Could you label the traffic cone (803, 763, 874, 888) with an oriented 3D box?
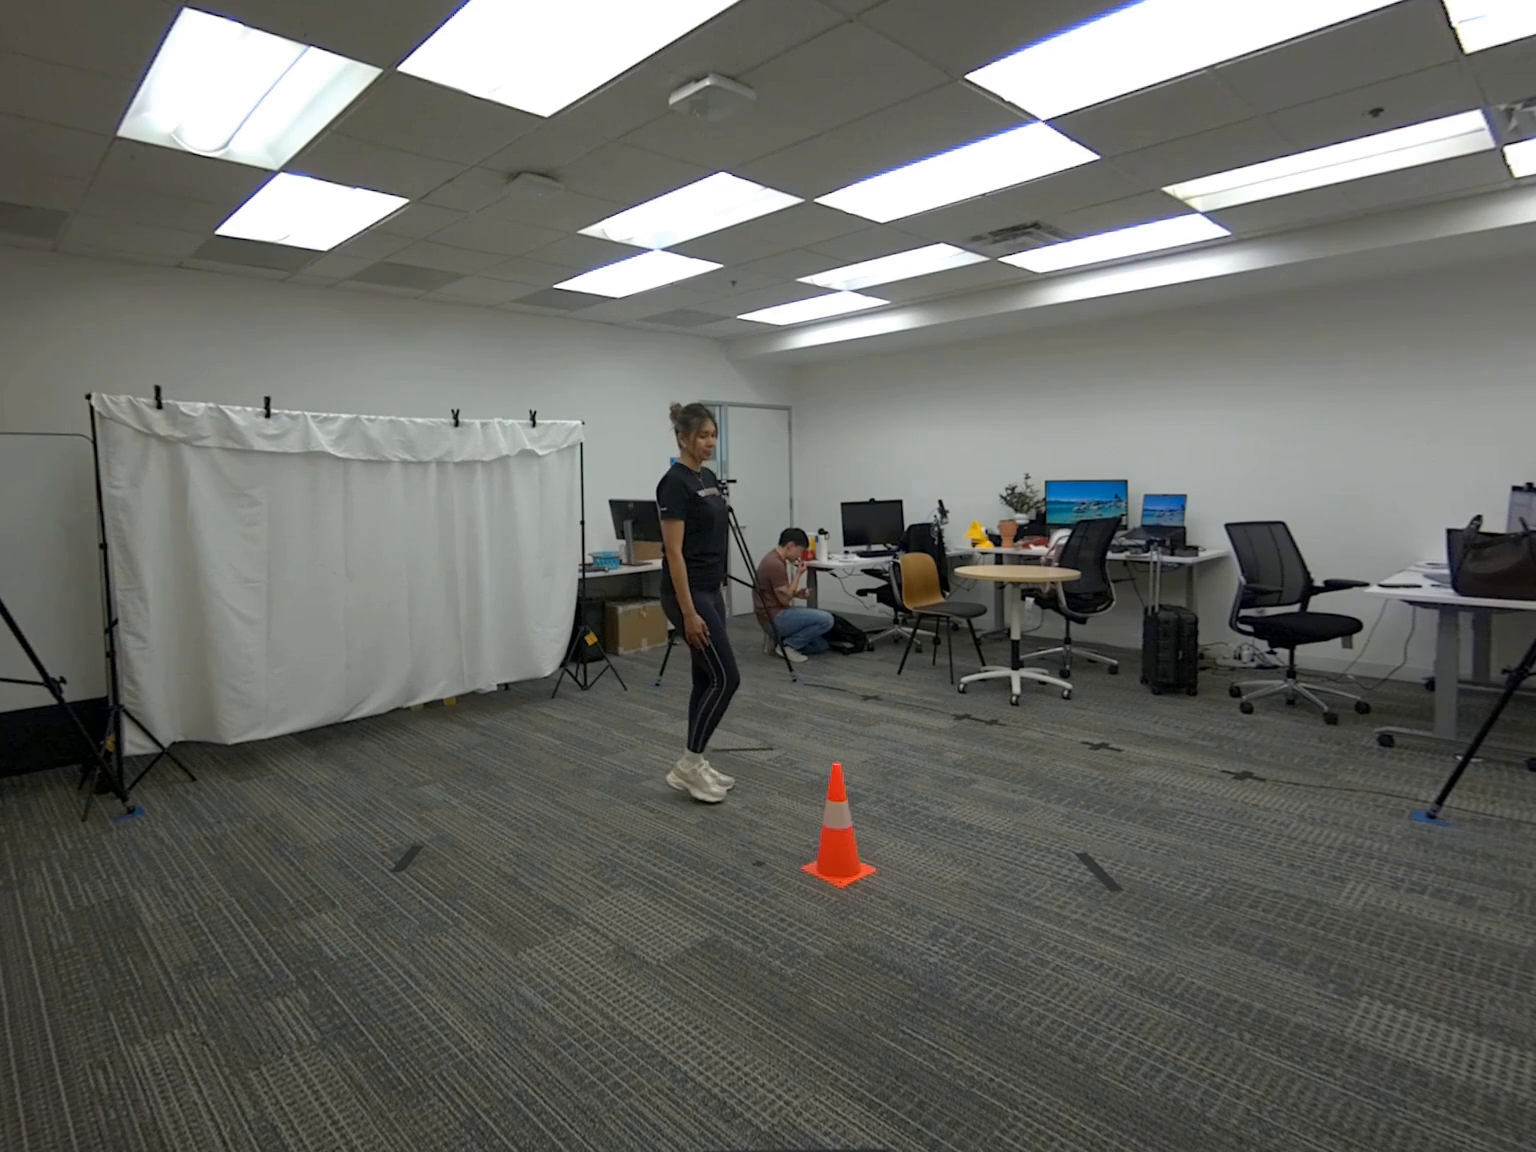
[{"bbox_3d":[0.256,0.868,3.037,0.211,0.382,0.198,3,6,42],"label":"traffic cone"}]
